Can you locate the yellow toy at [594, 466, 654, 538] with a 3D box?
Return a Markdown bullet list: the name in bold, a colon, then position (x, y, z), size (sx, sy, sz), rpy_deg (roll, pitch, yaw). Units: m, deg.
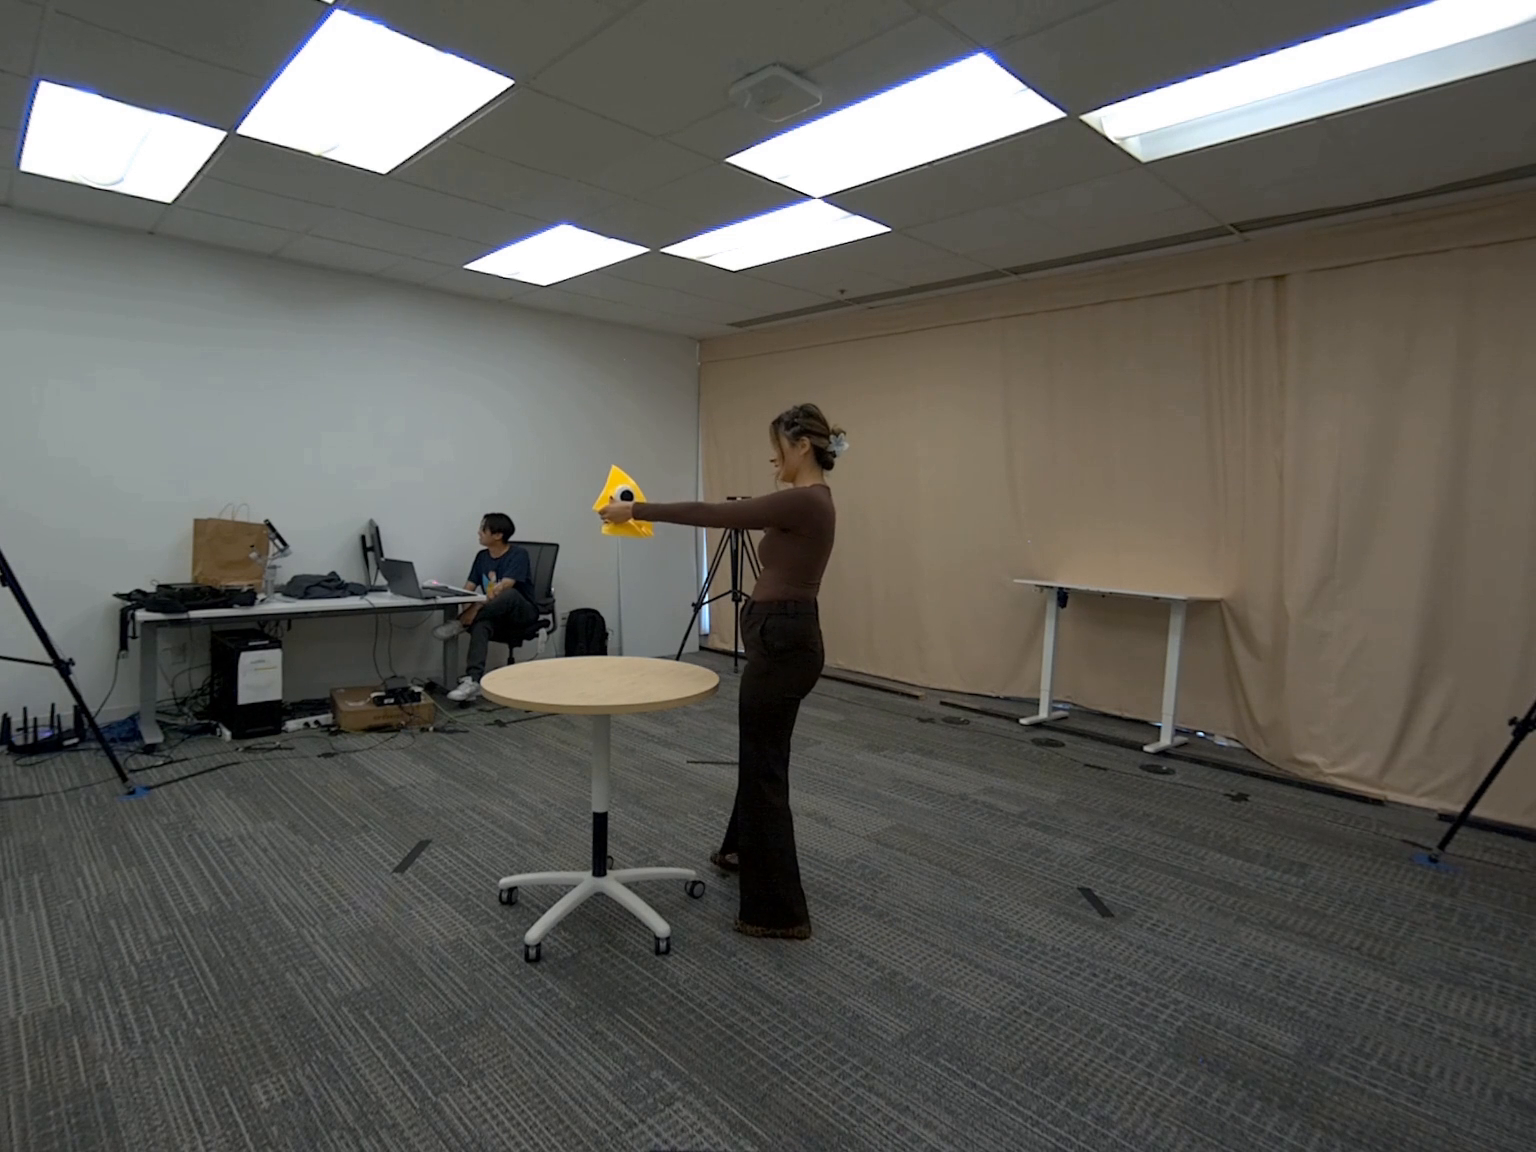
- **yellow toy**: position (-0.479, -0.256, 2.853), size (0.194, 0.230, 0.204), rpy_deg (5, 4, 4)
